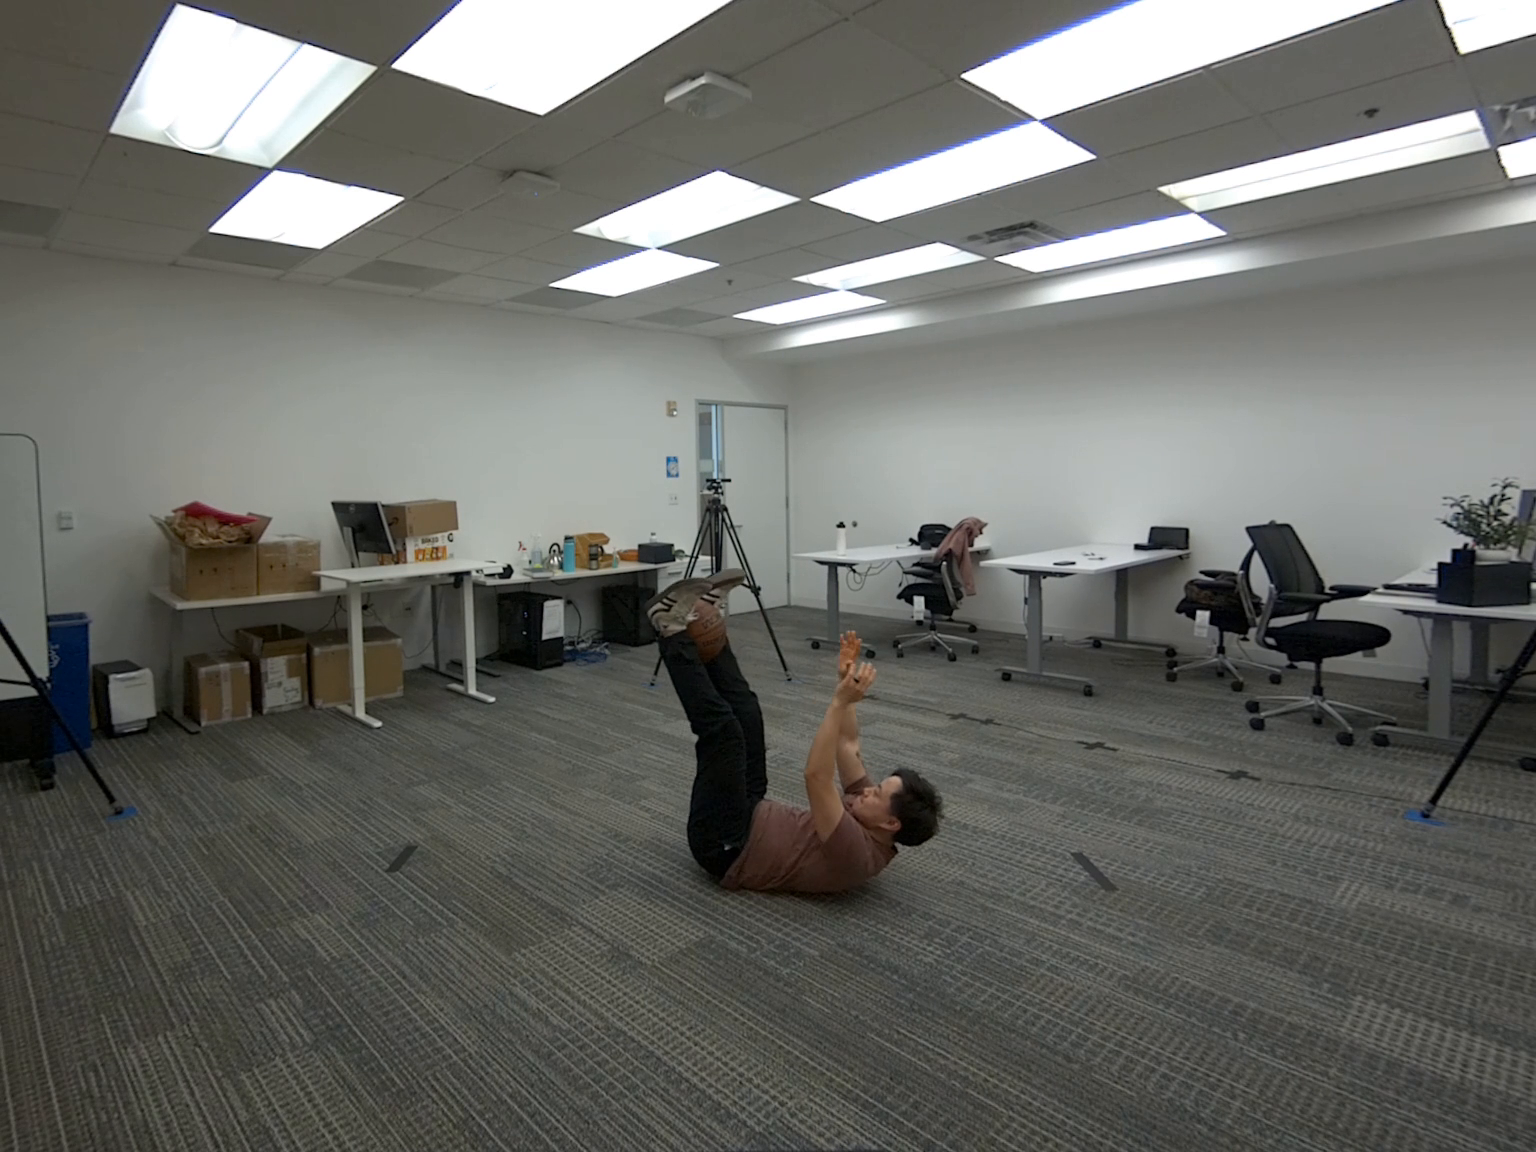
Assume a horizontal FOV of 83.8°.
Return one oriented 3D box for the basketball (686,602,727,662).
[{"bbox_3d":[-0.274,0.206,3.070,0.236,0.236,0.236,0,1,-2],"label":"basketball"}]
